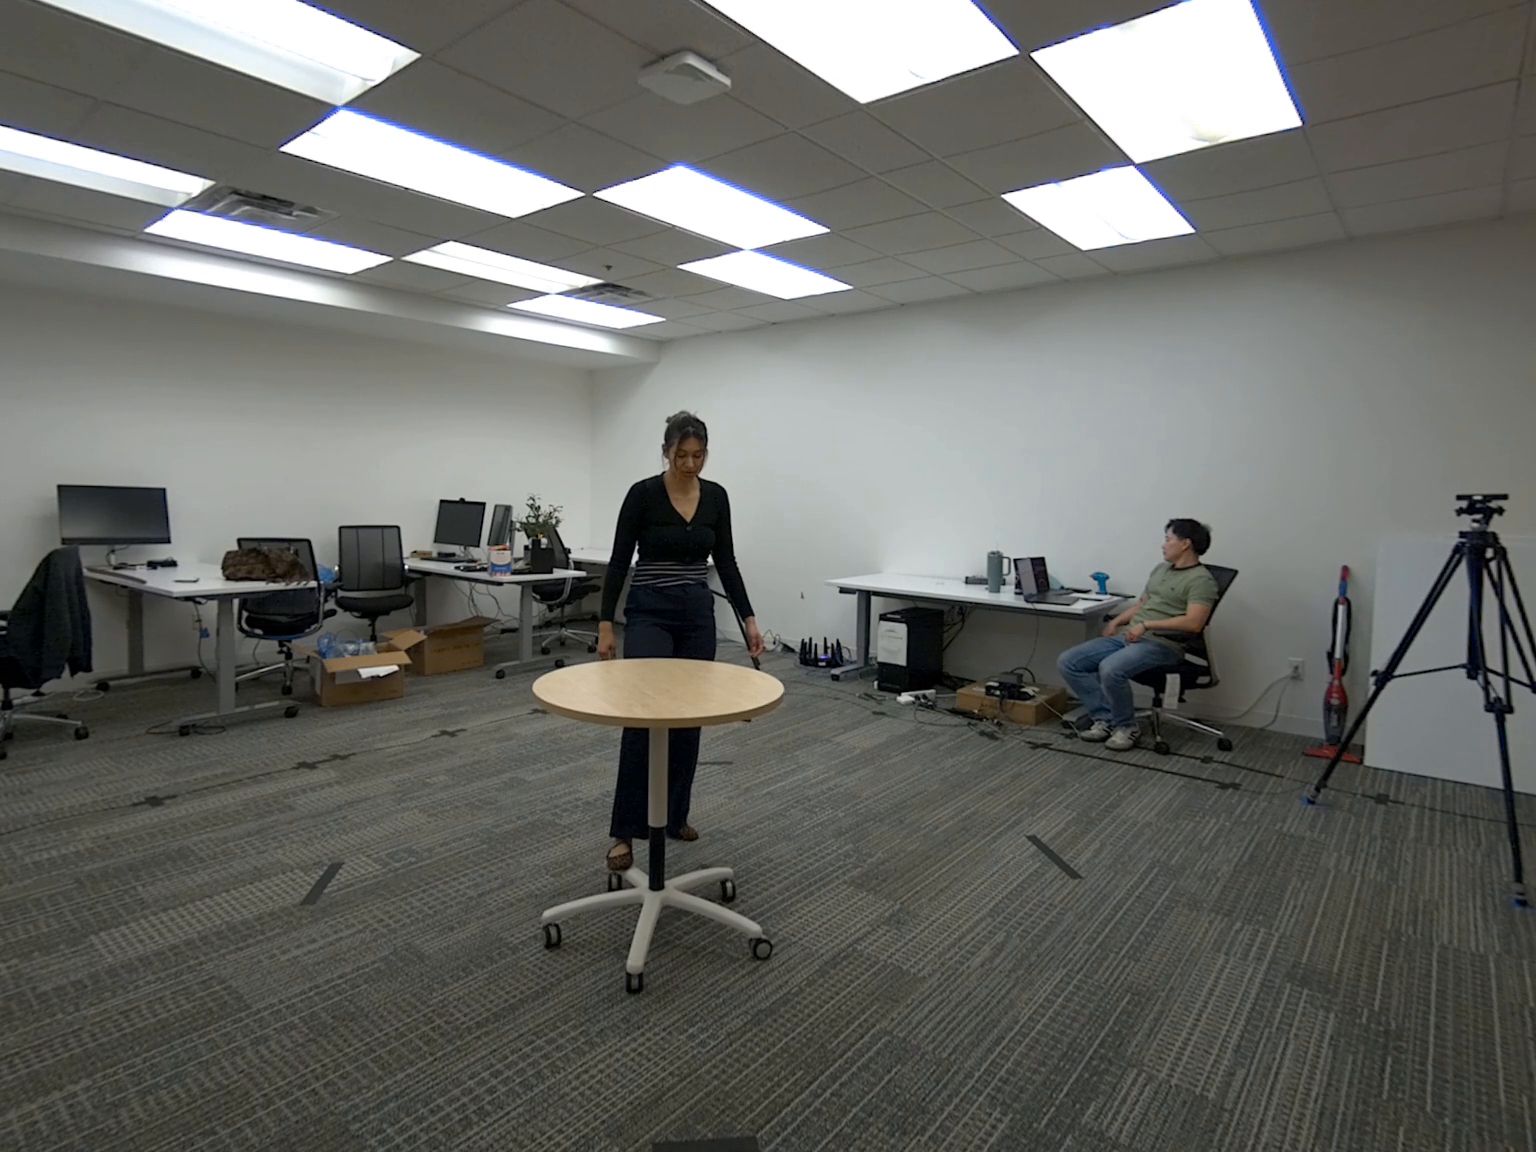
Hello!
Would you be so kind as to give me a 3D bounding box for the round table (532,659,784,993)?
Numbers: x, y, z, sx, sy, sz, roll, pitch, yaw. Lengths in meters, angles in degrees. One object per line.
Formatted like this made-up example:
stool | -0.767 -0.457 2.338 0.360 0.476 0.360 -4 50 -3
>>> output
round table | -0.349 0.719 2.641 0.763 0.791 0.768 1 4 -2
